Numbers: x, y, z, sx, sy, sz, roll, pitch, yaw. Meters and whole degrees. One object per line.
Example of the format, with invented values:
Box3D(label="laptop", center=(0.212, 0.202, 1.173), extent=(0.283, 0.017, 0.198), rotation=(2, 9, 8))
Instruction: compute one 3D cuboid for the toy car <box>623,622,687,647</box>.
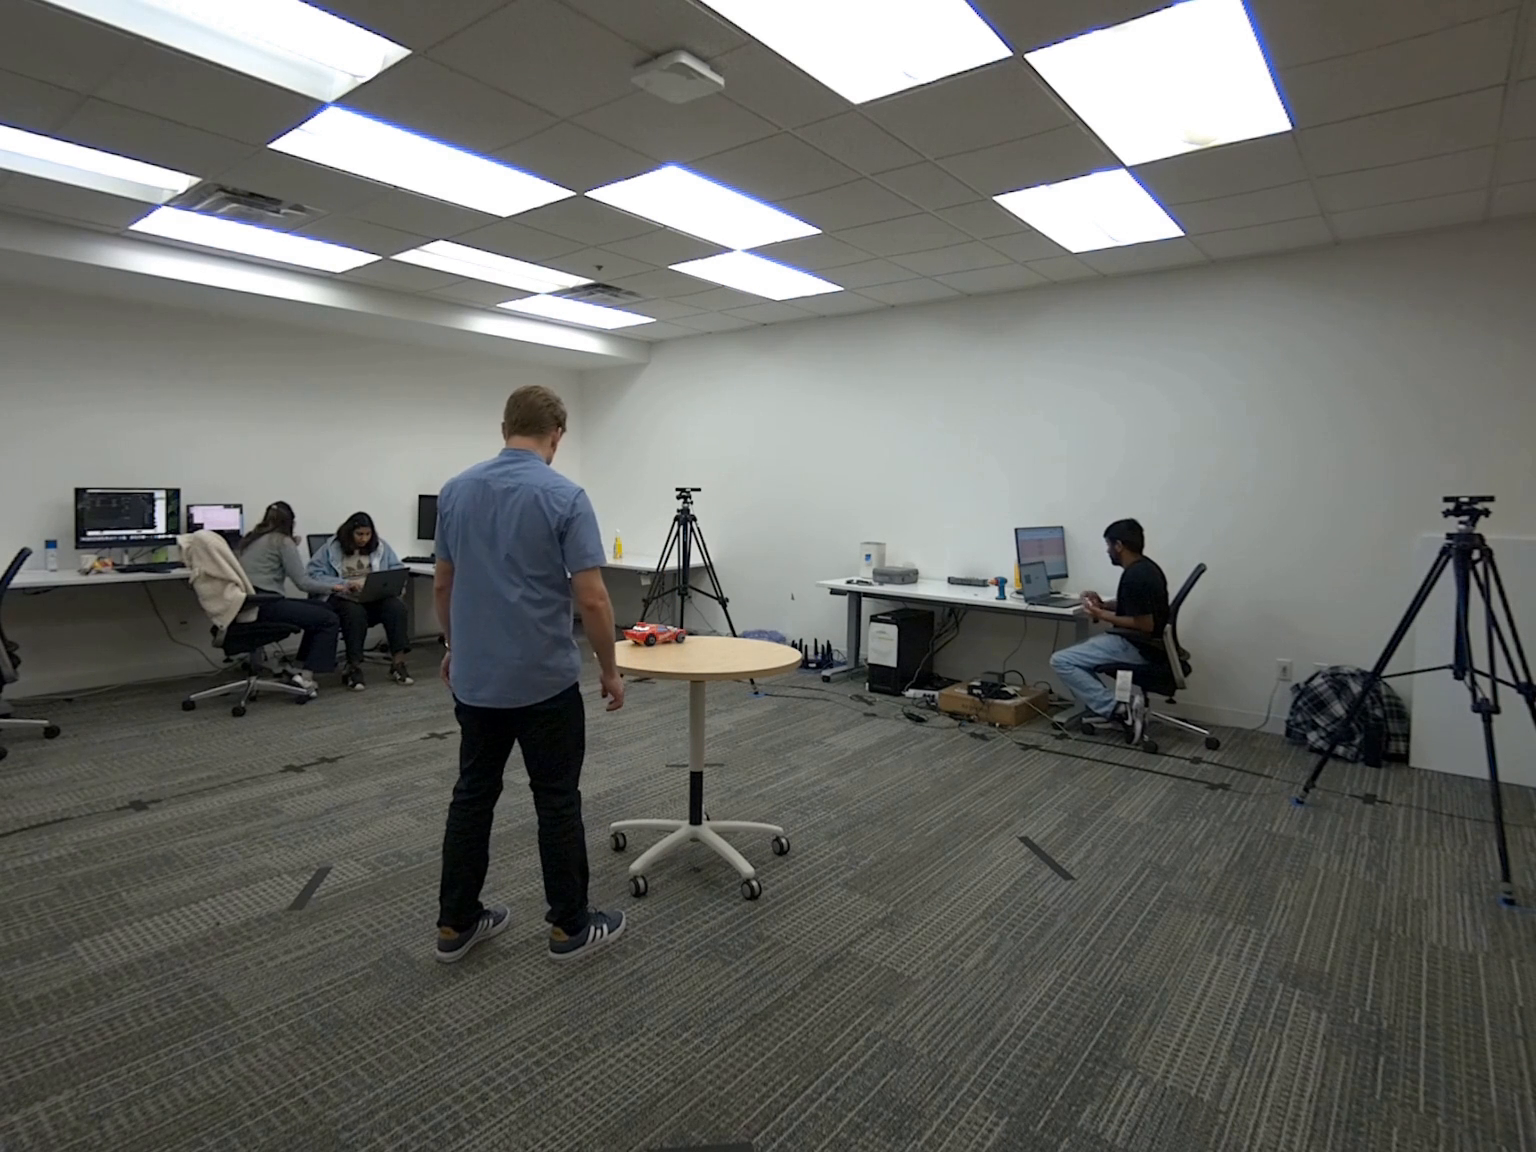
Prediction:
Box3D(label="toy car", center=(-0.462, 0.229, 3.340), extent=(0.245, 0.083, 0.135), rotation=(12, -4, -40))
